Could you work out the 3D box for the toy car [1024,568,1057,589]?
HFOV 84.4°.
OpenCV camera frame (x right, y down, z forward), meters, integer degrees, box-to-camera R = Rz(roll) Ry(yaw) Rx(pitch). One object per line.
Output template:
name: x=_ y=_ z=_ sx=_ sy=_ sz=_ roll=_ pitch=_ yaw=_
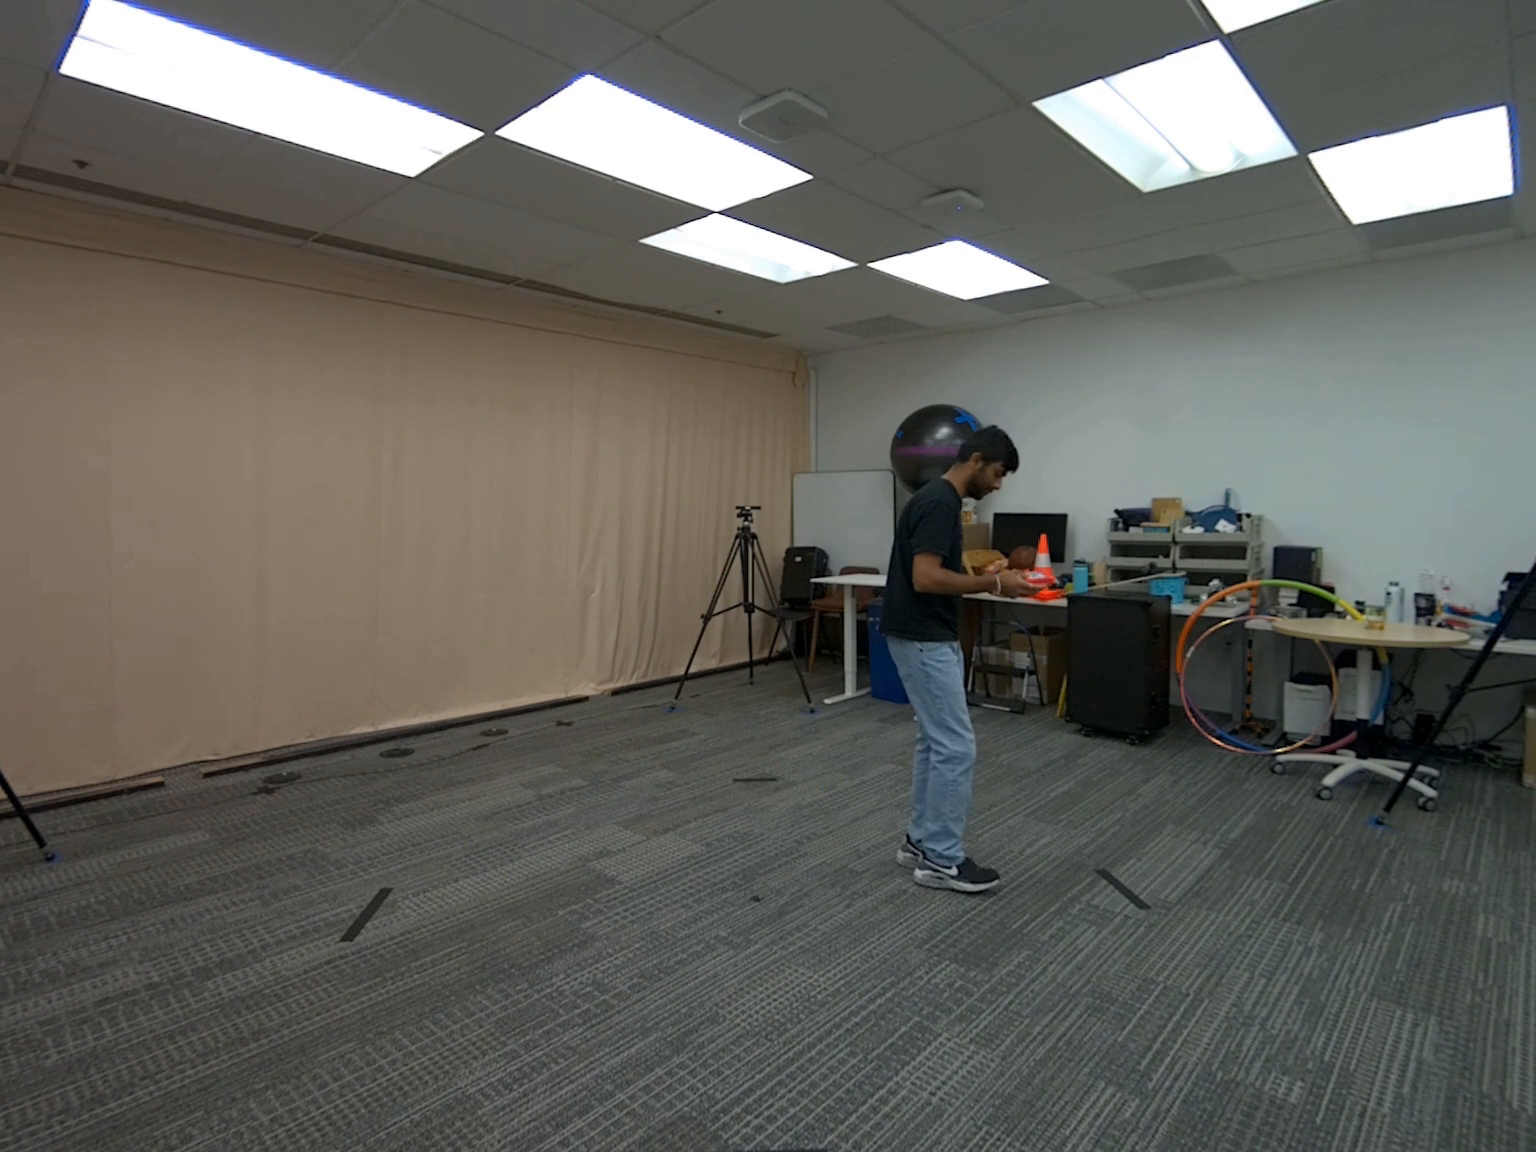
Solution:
toy car: x=0.962 y=0.038 z=3.055 sx=0.131 sy=0.083 sz=0.255 roll=-4 pitch=8 yaw=1
